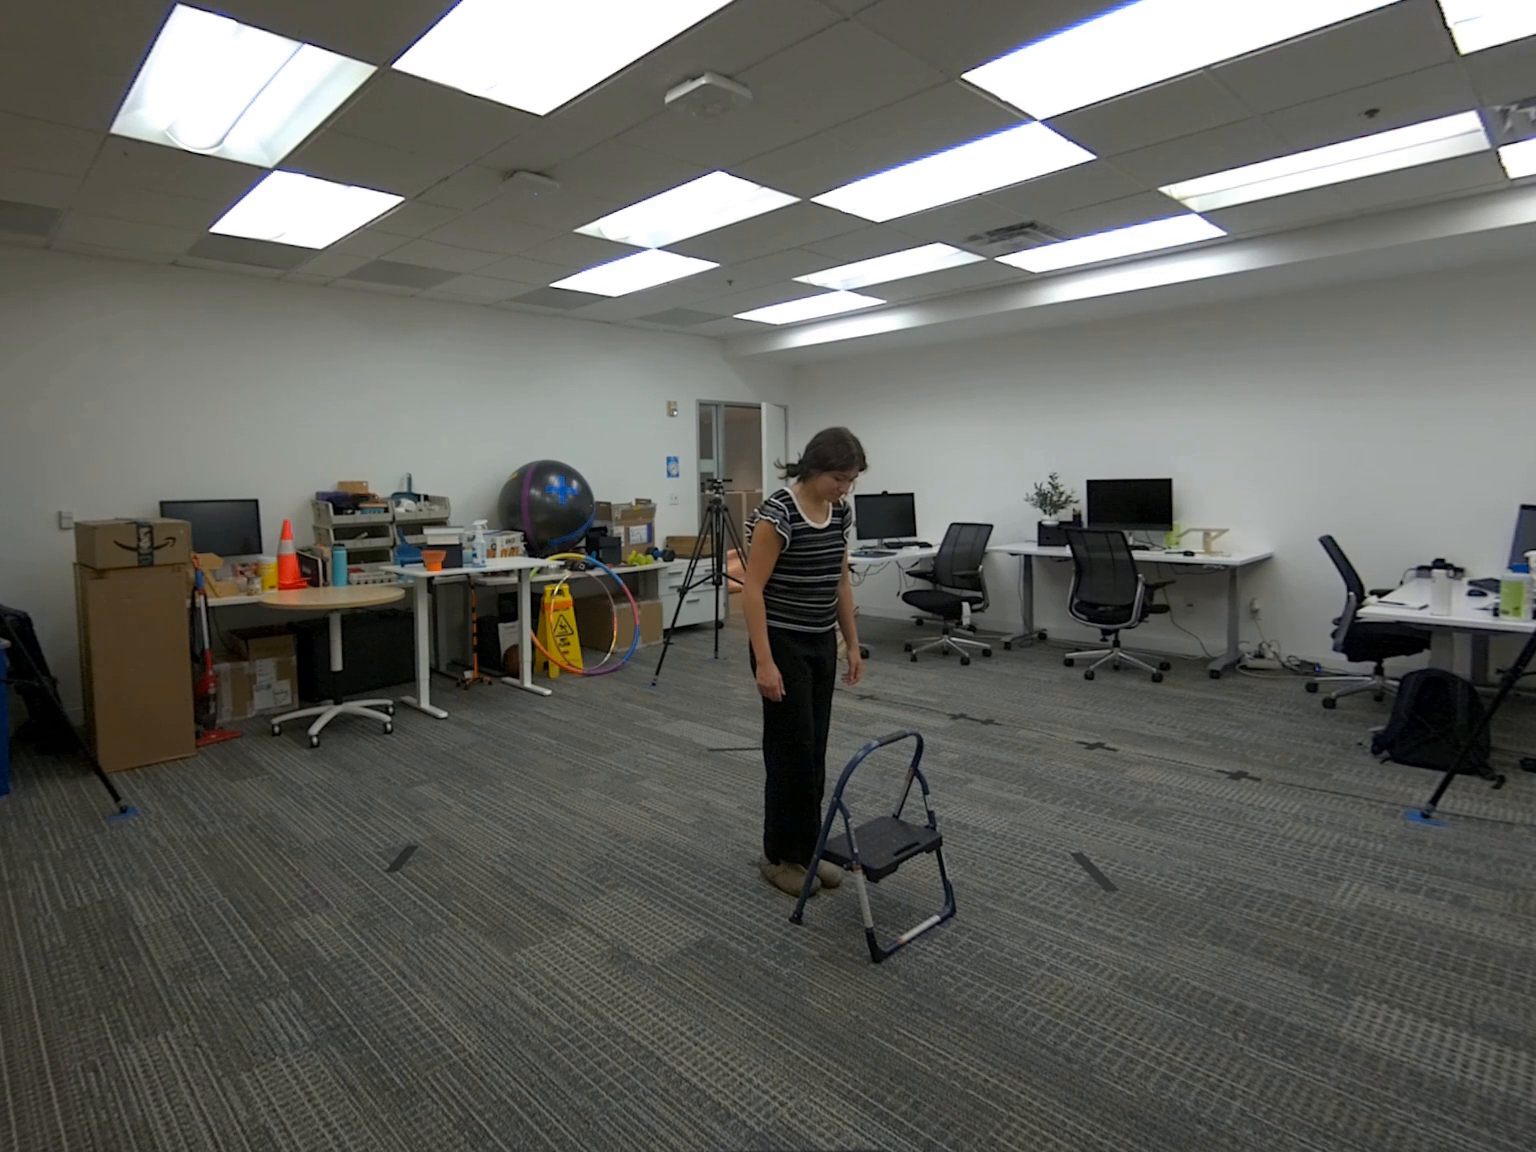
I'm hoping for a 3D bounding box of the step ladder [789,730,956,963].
[{"bbox_3d":[0.332,0.785,2.693,0.419,0.604,0.360,-5,6,-45],"label":"step ladder"}]
